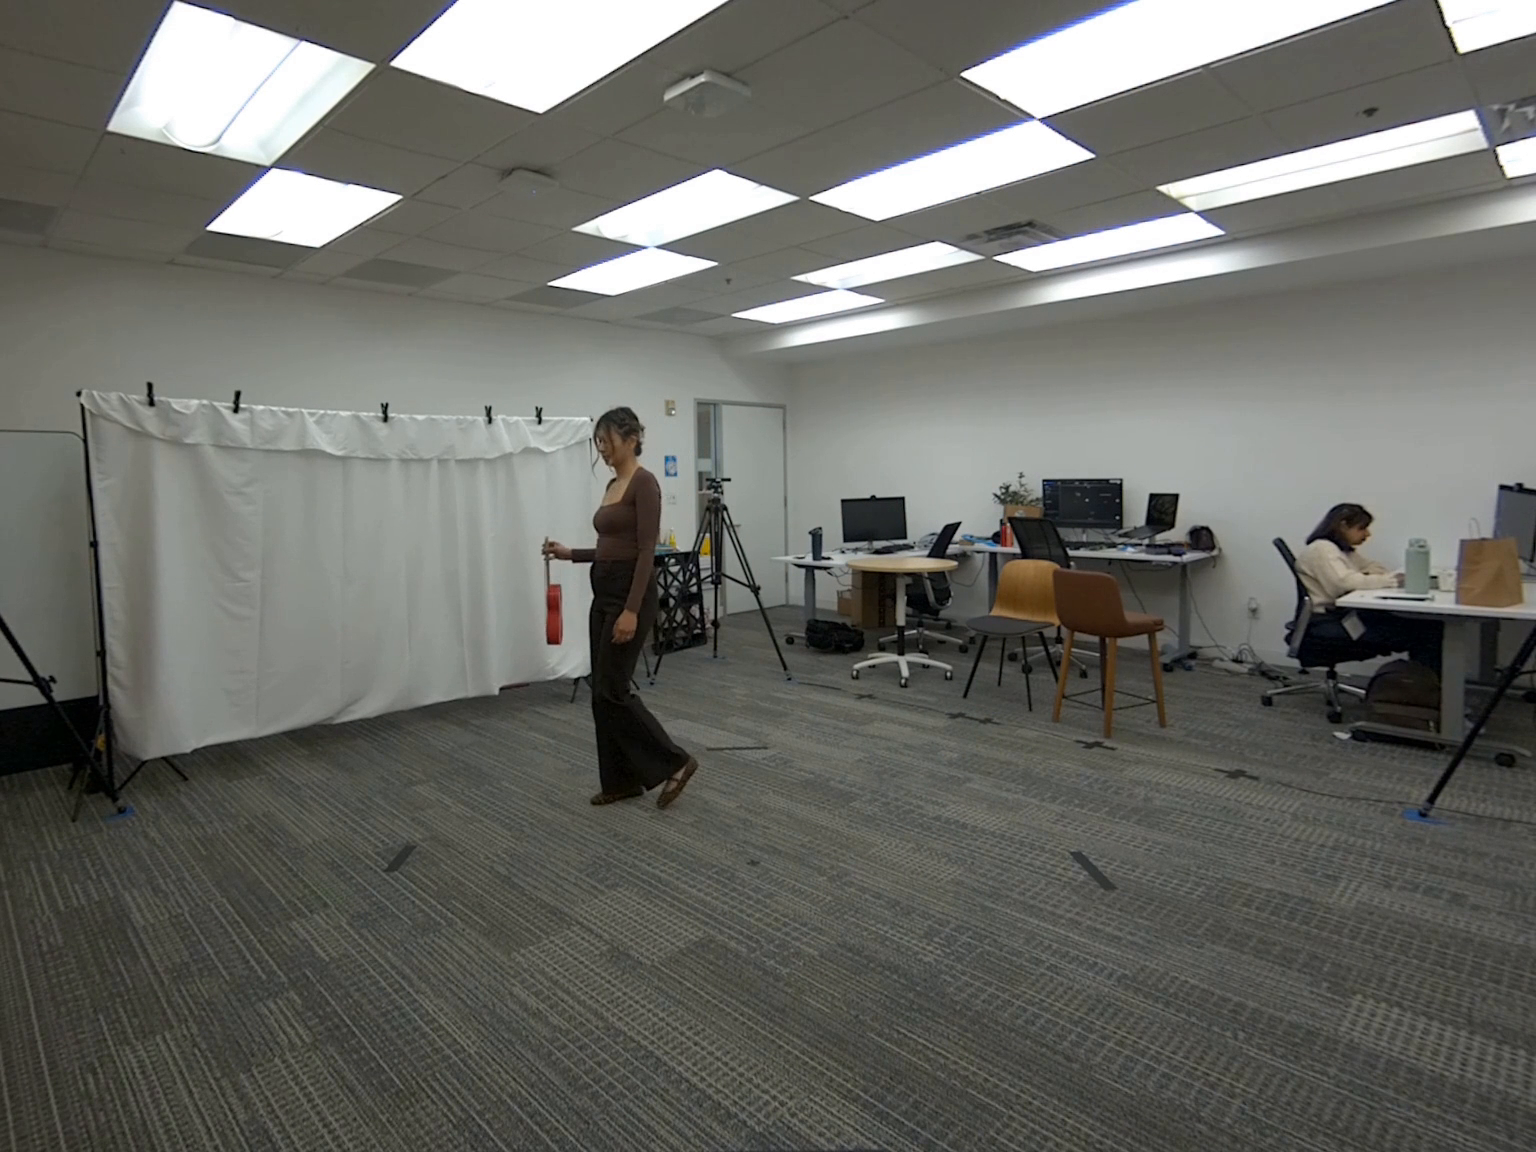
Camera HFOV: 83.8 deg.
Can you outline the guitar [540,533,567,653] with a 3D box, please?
[{"bbox_3d":[-0.971,0.072,3.881,0.070,0.491,0.197,-2,15,-8],"label":"guitar"}]
